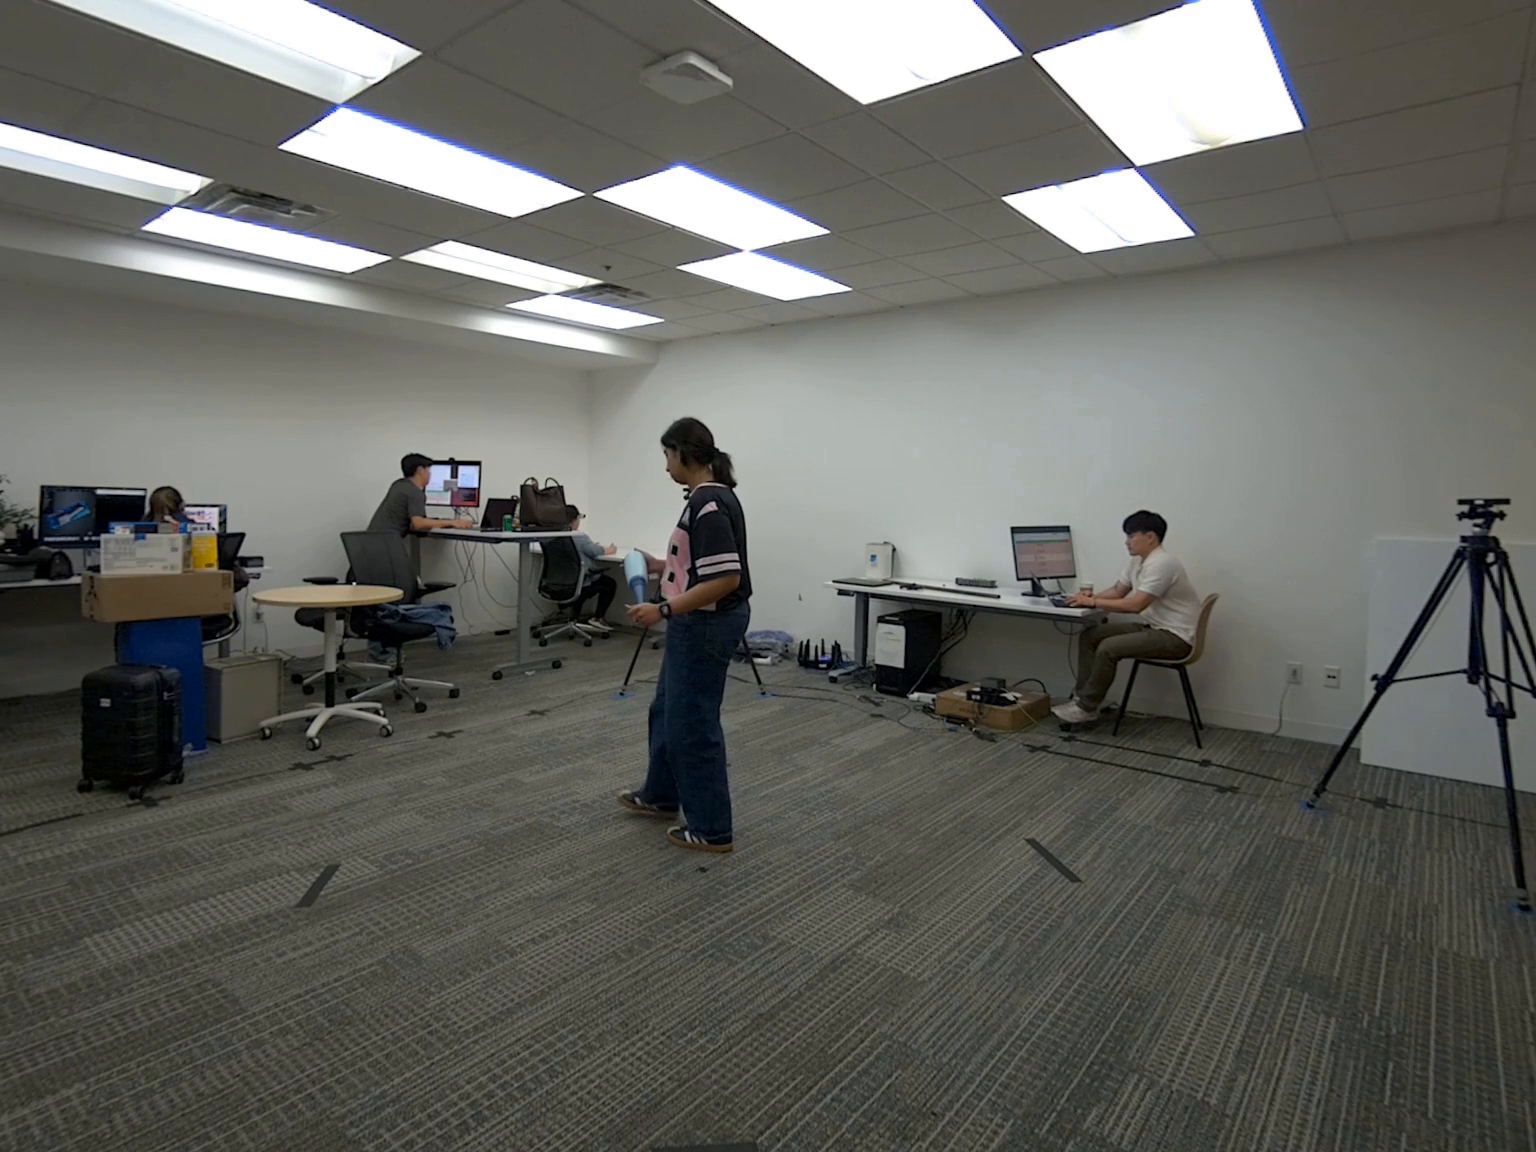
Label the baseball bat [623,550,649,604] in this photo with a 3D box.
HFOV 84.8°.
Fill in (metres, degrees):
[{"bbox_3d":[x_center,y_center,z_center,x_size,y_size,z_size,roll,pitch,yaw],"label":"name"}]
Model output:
[{"bbox_3d":[-0.519,0.032,3.273,0.088,0.087,0.558,0,23,-11],"label":"baseball bat"}]
